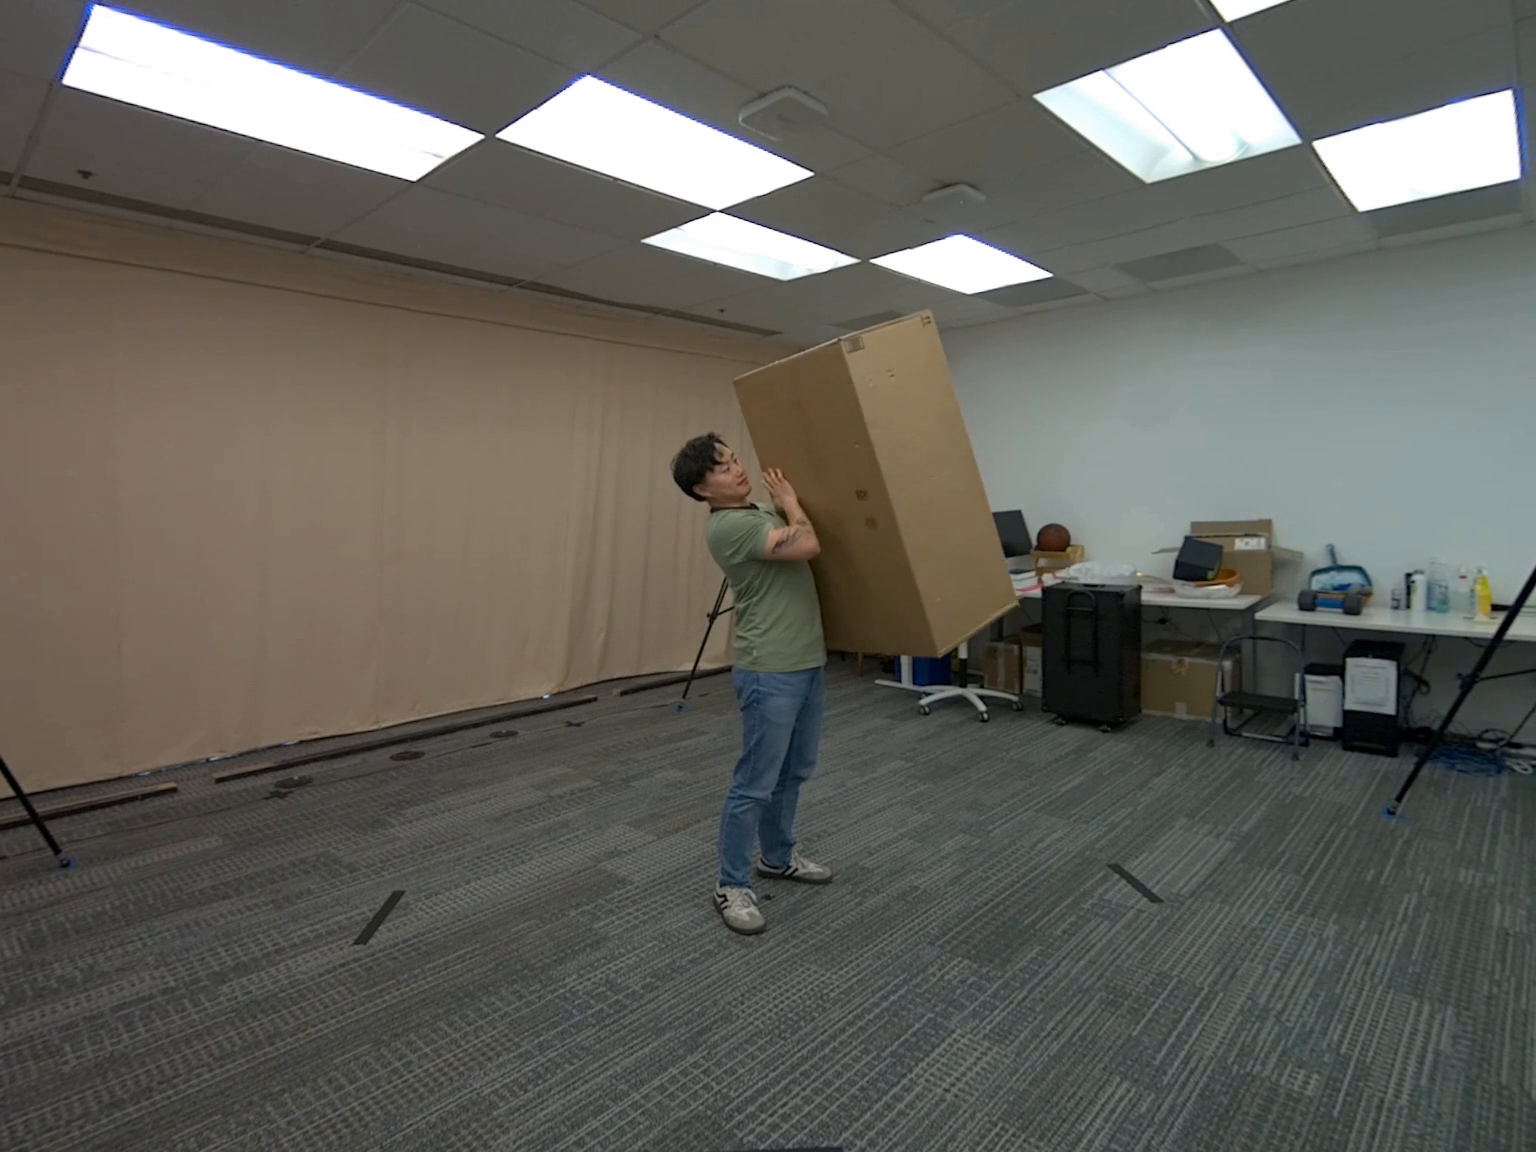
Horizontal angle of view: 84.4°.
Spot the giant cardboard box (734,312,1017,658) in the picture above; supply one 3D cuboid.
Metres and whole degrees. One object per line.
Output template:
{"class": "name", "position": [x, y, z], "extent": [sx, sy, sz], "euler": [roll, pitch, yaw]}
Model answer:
{"class": "giant cardboard box", "position": [0.367, -0.285, 2.885], "extent": [0.418, 1.017, 0.594], "euler": [-25, 11, -33]}
